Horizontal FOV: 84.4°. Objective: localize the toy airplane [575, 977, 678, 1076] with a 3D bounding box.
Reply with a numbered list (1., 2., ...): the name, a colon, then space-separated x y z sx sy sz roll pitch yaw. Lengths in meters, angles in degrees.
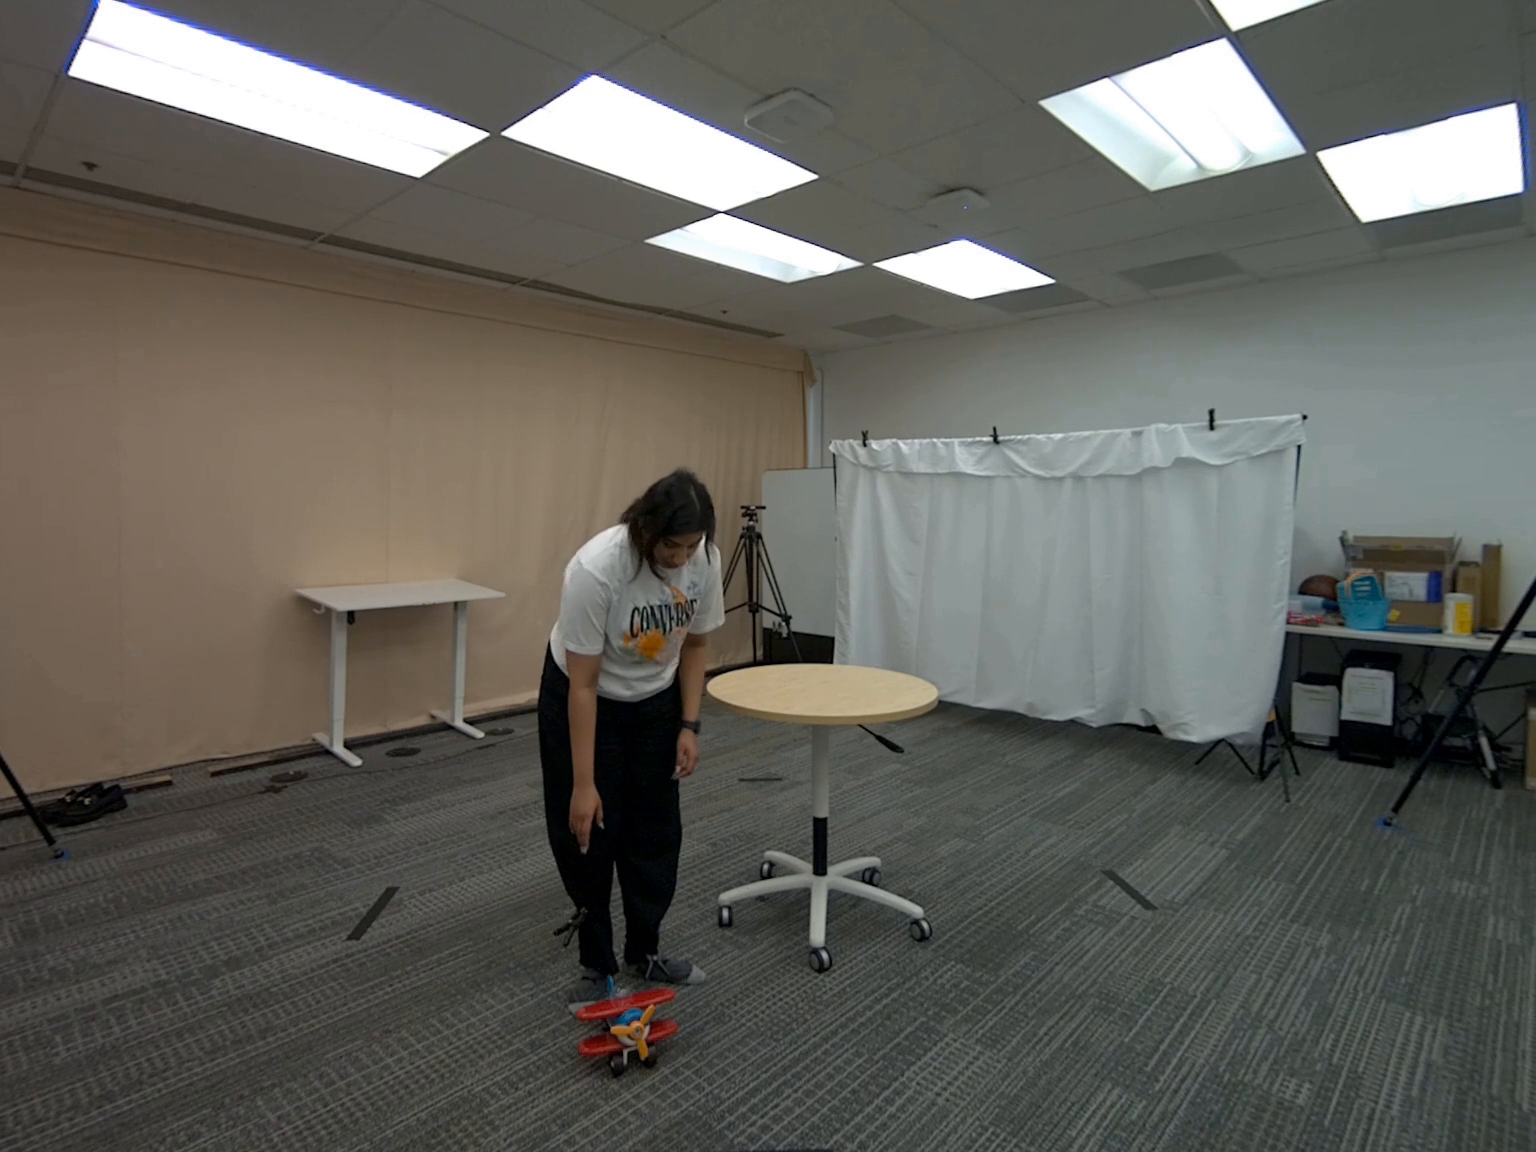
1. toy airplane: -0.383 1.138 2.147 0.268 0.156 0.244 5 8 38
